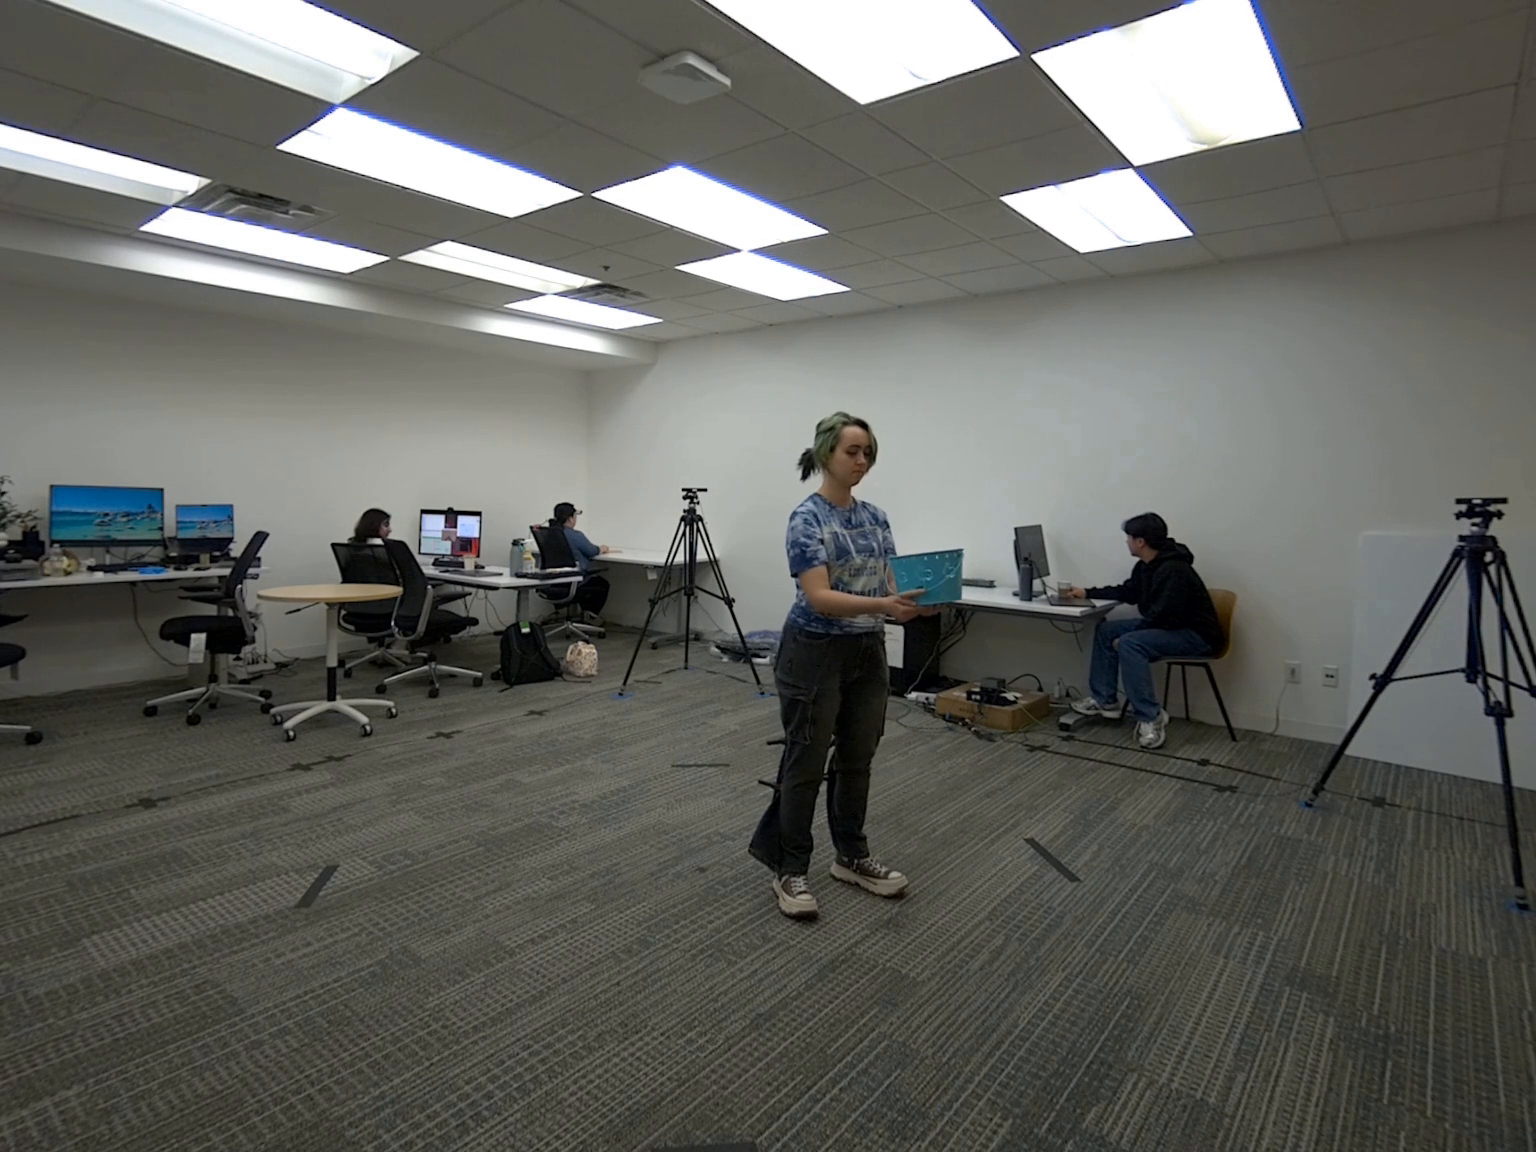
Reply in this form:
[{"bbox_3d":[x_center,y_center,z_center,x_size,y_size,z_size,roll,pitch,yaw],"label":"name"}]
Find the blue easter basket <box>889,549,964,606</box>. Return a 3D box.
[{"bbox_3d":[0.487,0.004,2.598,0.243,0.156,0.243,-5,-2,-2],"label":"blue easter basket"}]
